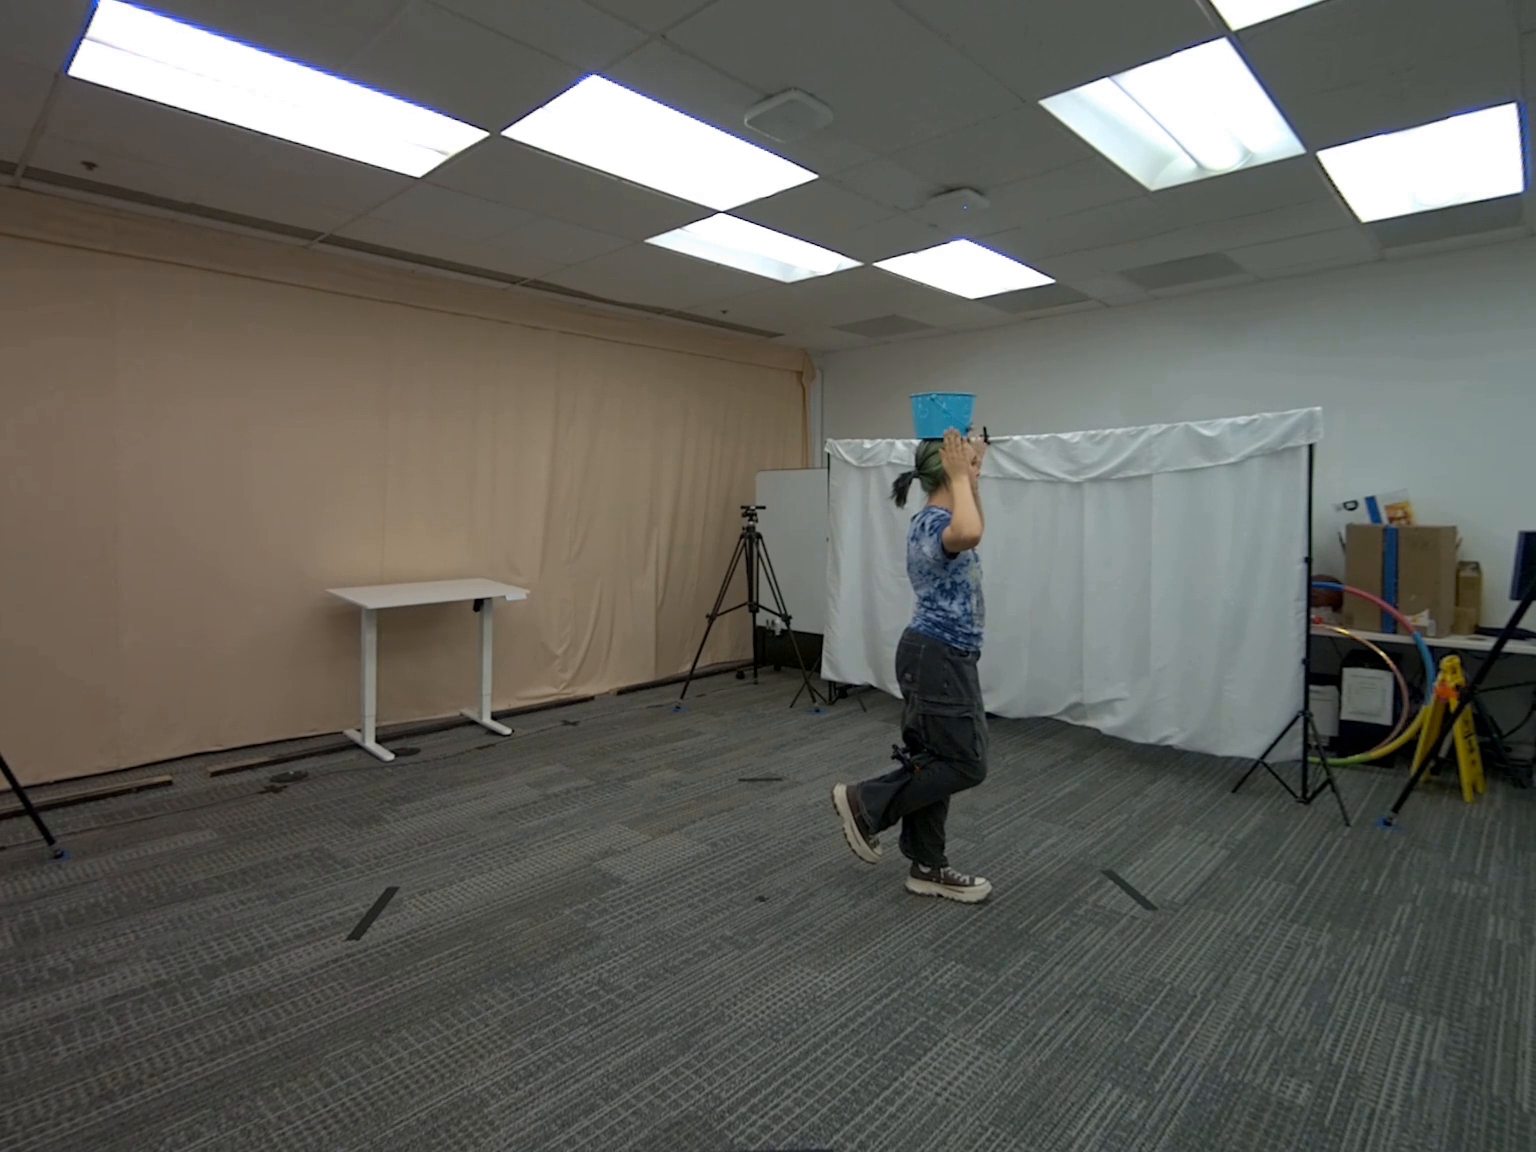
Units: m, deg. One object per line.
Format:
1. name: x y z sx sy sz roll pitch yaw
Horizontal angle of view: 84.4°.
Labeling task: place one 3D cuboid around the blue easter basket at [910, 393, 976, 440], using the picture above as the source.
1. blue easter basket: 0.624 -0.564 2.992 0.243 0.155 0.244 0 5 -2
